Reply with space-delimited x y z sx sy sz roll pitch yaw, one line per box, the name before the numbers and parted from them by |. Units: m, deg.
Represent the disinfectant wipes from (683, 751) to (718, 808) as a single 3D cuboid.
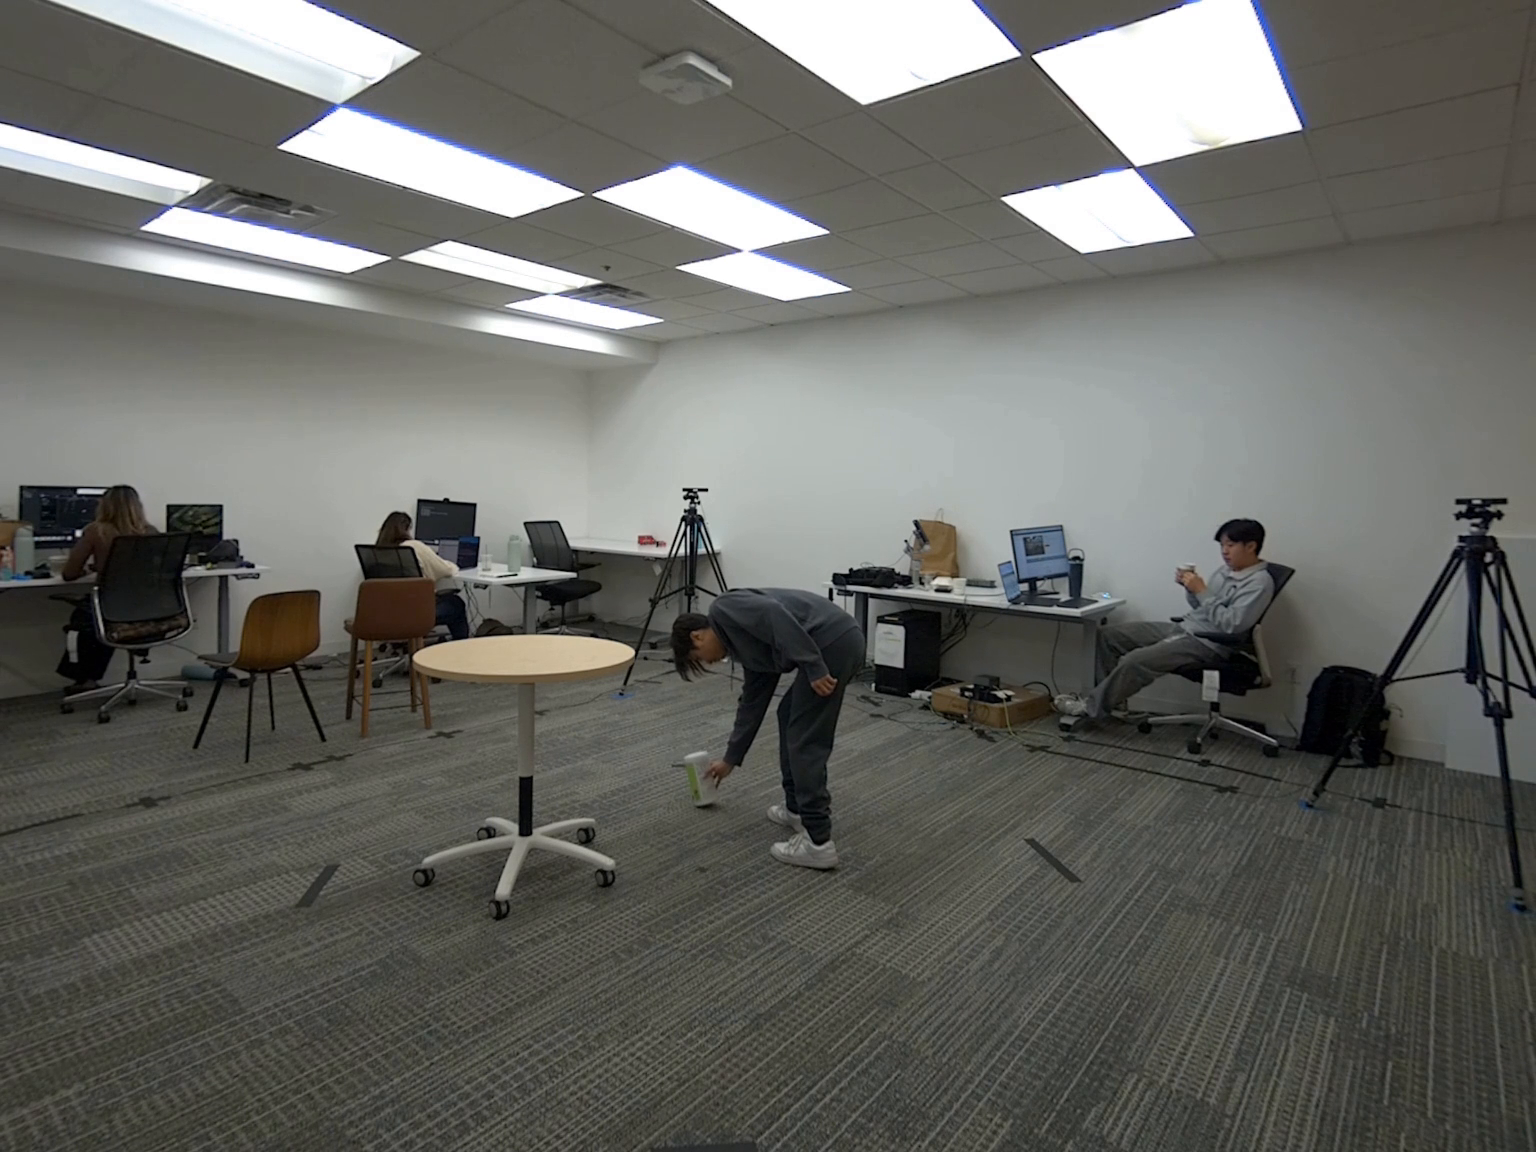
disinfectant wipes | -0.308 0.892 3.755 0.117 0.219 0.117 -12 -6 -3
